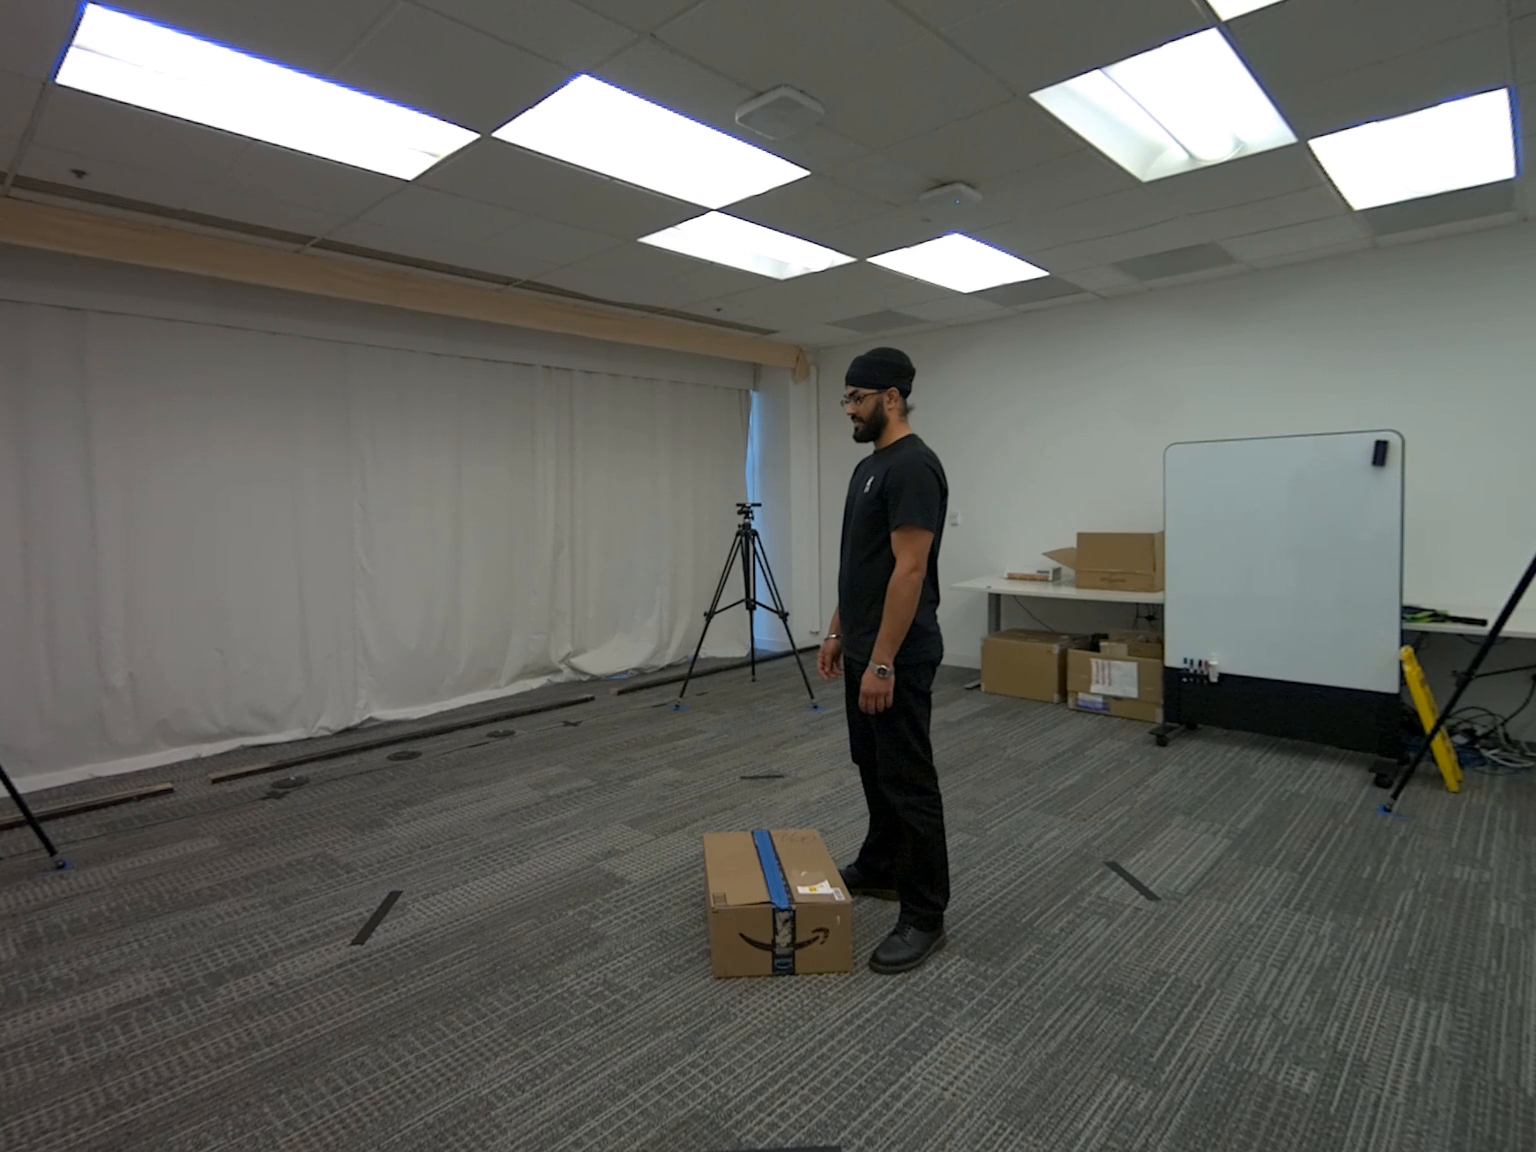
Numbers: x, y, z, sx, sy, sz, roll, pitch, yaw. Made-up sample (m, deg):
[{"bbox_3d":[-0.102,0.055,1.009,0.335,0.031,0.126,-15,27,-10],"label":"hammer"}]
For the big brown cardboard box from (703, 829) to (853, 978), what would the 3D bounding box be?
[{"bbox_3d":[0.012,1.053,2.741,0.415,0.232,0.594,-3,4,-7],"label":"big brown cardboard box"}]
